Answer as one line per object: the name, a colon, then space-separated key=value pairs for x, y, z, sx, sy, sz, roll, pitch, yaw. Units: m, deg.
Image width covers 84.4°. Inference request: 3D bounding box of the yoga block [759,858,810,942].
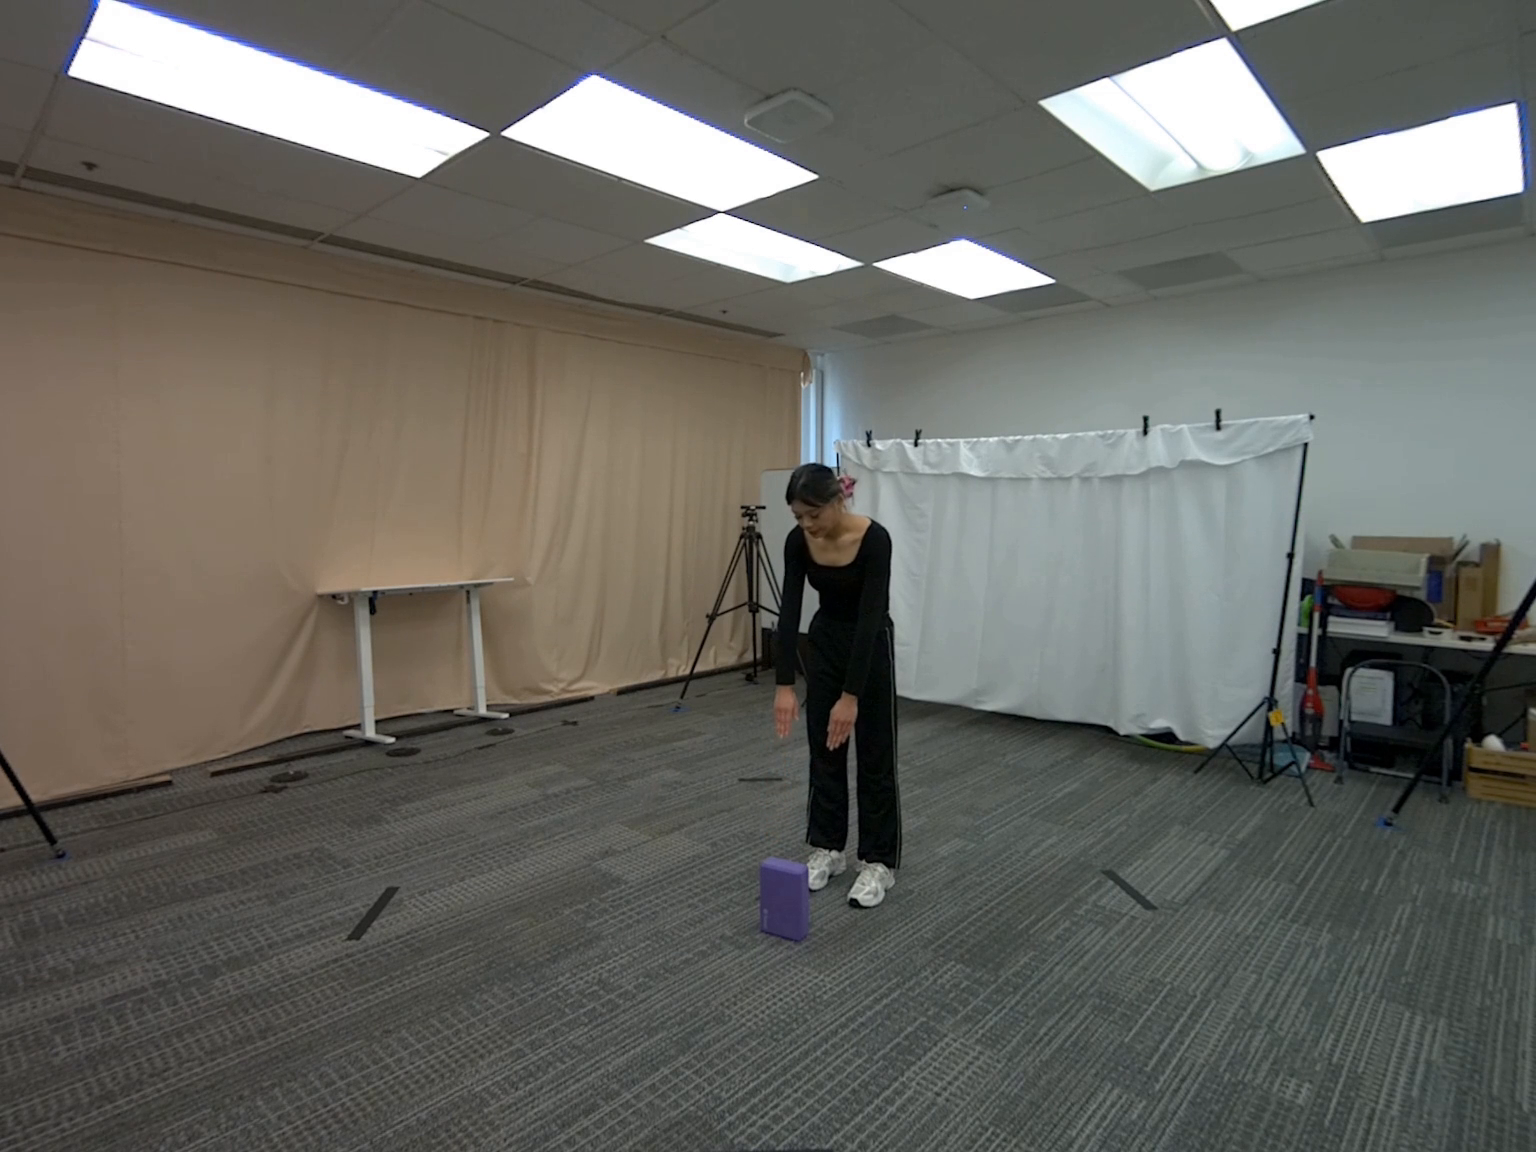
yoga block: x=0.058 y=1.051 z=2.735 sx=0.153 sy=0.229 sz=0.074 roll=3 pitch=5 yaw=28
